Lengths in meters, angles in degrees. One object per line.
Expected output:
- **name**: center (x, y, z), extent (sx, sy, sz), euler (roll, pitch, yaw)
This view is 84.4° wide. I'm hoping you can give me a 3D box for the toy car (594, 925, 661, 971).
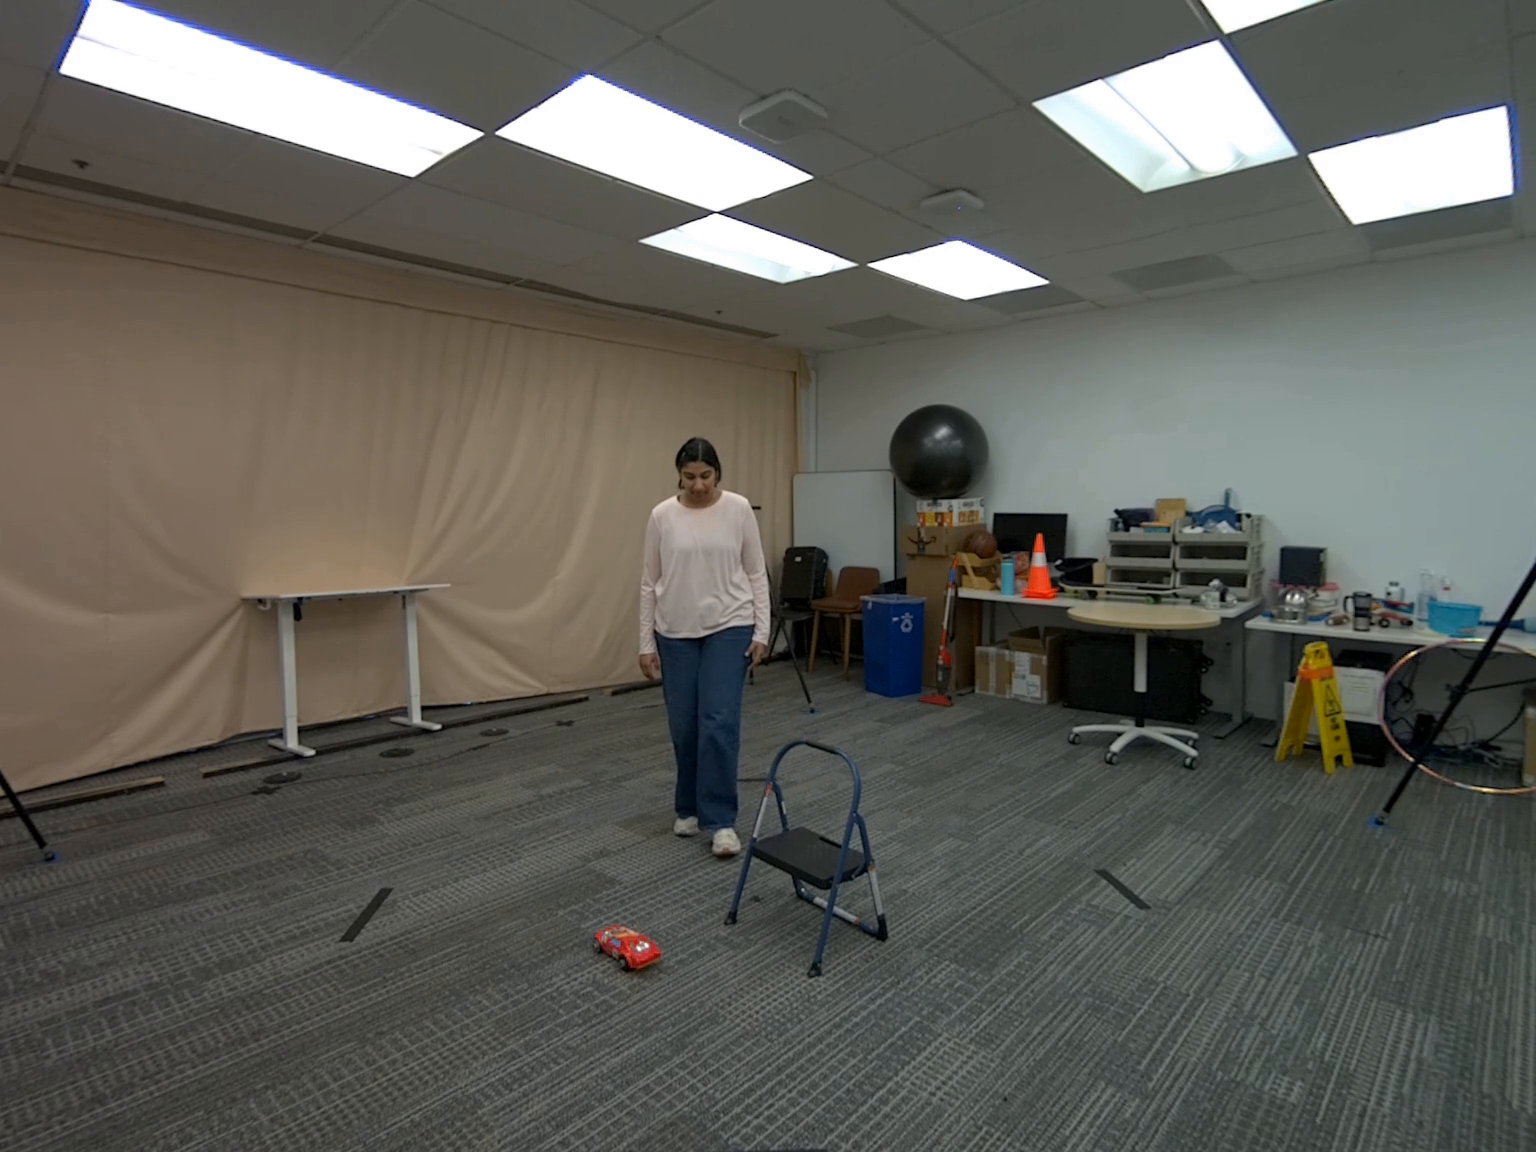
- **toy car**: center (-0.433, 1.141, 2.600), extent (0.126, 0.083, 0.261), euler (-6, -3, -43)
